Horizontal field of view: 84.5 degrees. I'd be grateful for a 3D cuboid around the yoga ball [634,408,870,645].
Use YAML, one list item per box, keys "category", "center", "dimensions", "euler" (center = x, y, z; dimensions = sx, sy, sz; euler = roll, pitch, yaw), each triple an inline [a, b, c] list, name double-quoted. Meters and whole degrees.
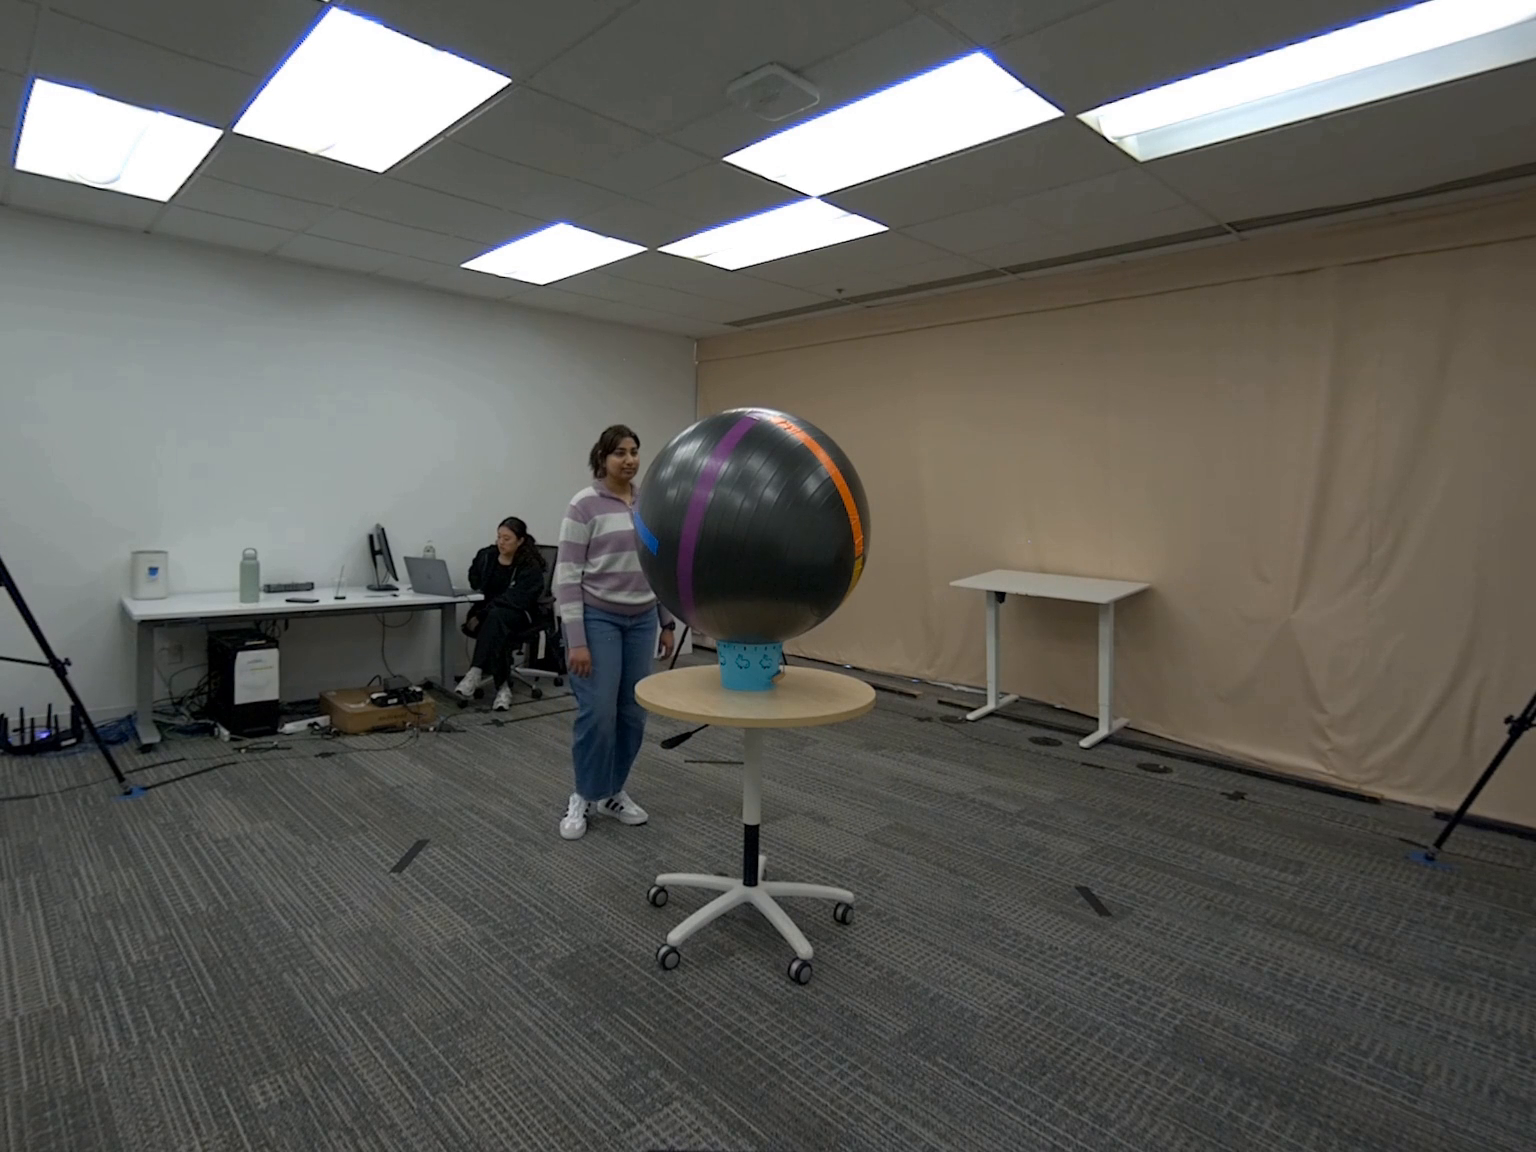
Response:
- category: "yoga ball"
  center: [-0.053, -0.152, 2.711]
  dimensions: [0.757, 0.756, 0.761]
  euler: [1, 4, -1]
